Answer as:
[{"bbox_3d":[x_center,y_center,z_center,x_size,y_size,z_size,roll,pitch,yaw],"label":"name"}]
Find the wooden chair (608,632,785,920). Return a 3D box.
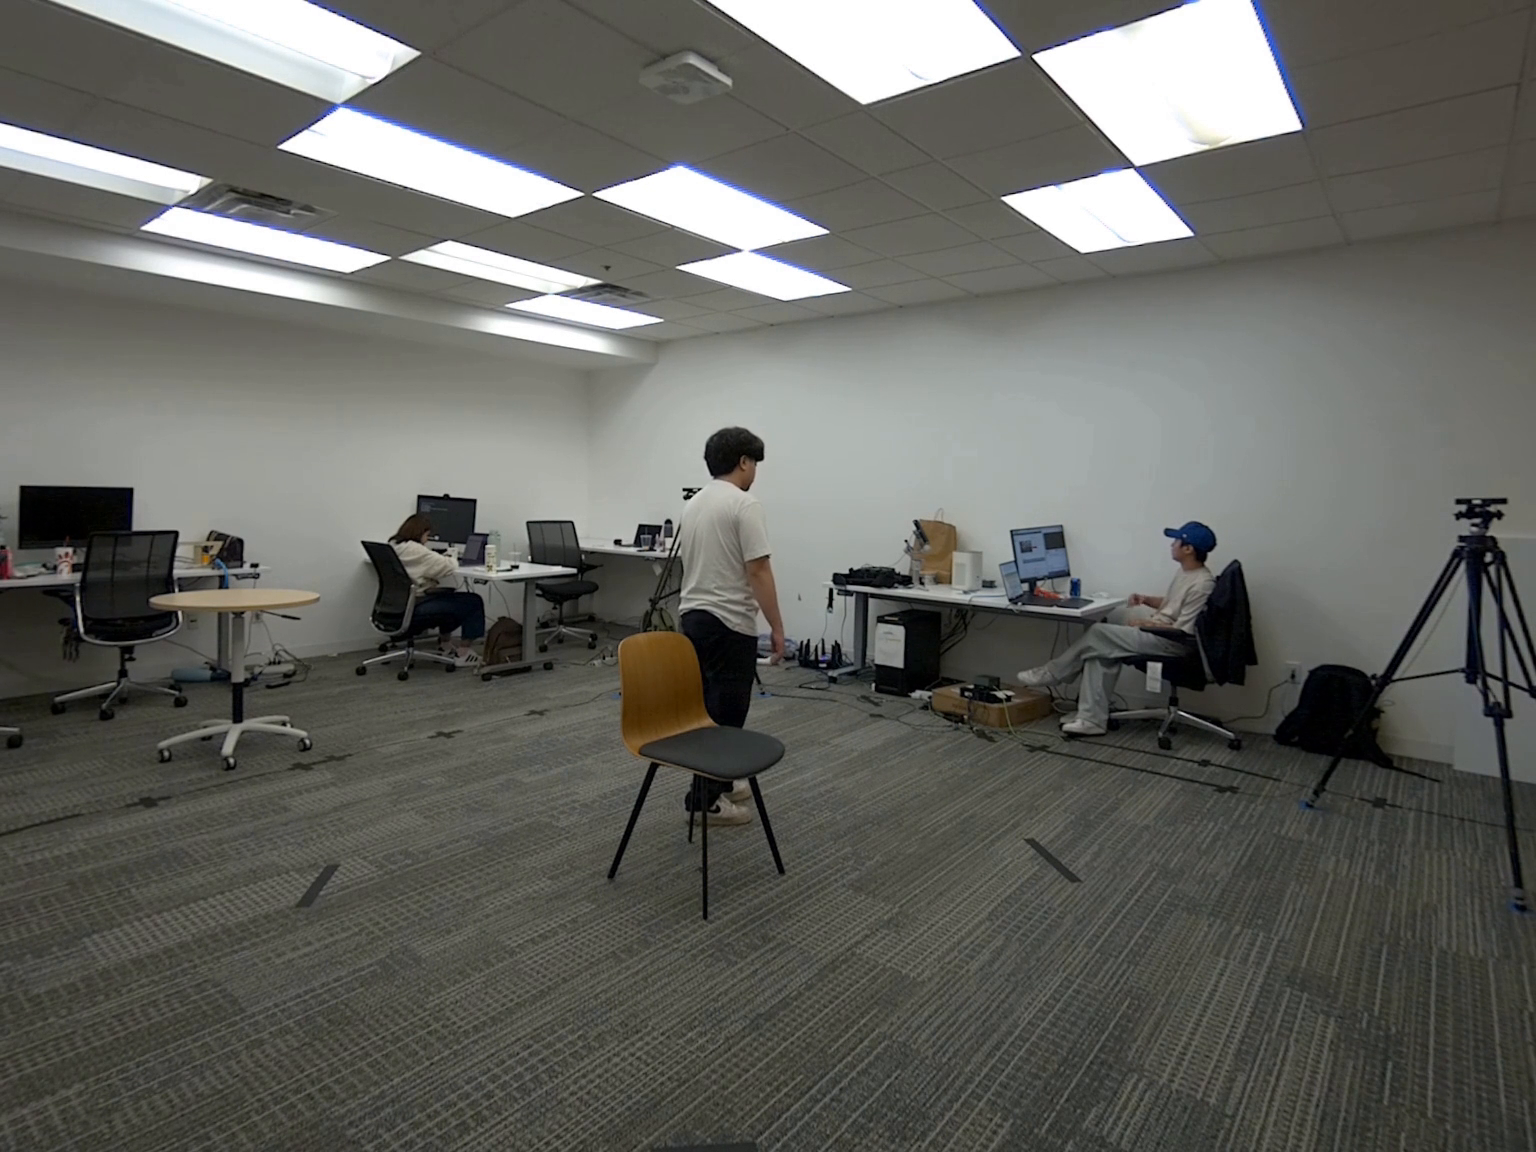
[{"bbox_3d":[-0.247,0.654,3.014,0.539,0.877,0.464,-2,0,37],"label":"wooden chair"}]
